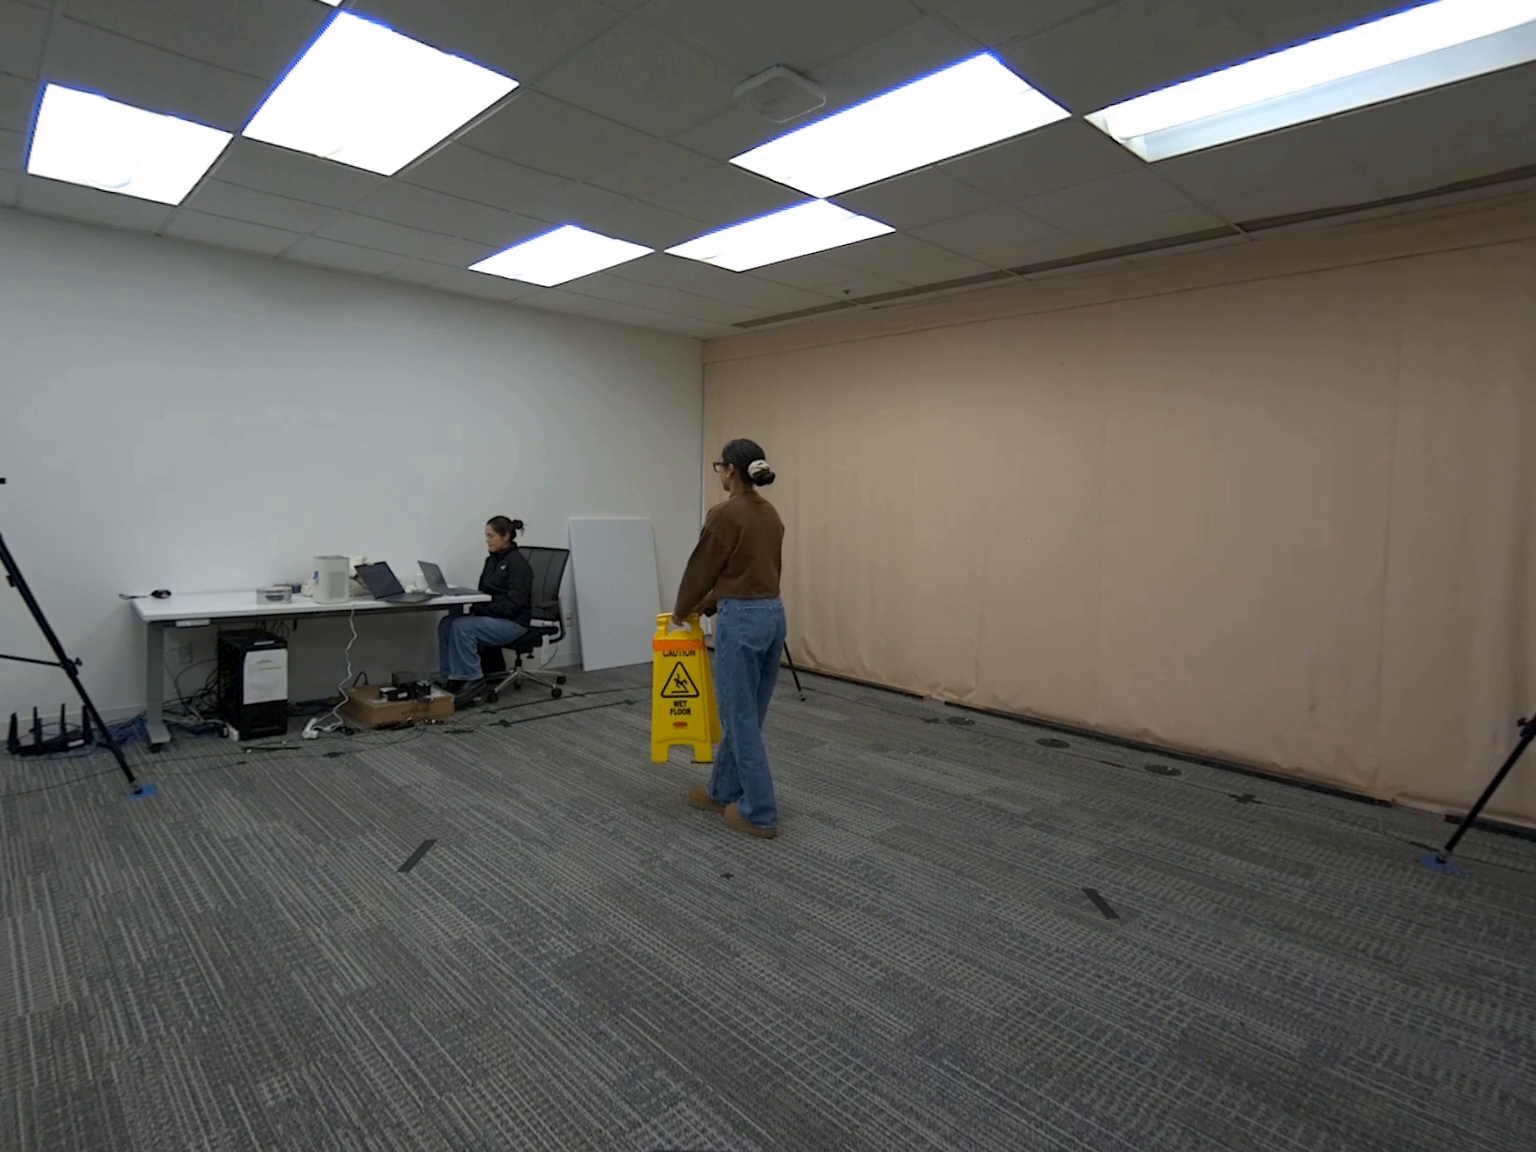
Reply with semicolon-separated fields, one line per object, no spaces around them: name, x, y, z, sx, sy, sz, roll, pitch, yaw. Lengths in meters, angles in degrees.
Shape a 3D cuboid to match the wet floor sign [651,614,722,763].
wet floor sign;-0.401;0.494;3.867;0.283;0.643;0.290;-2;6;5
